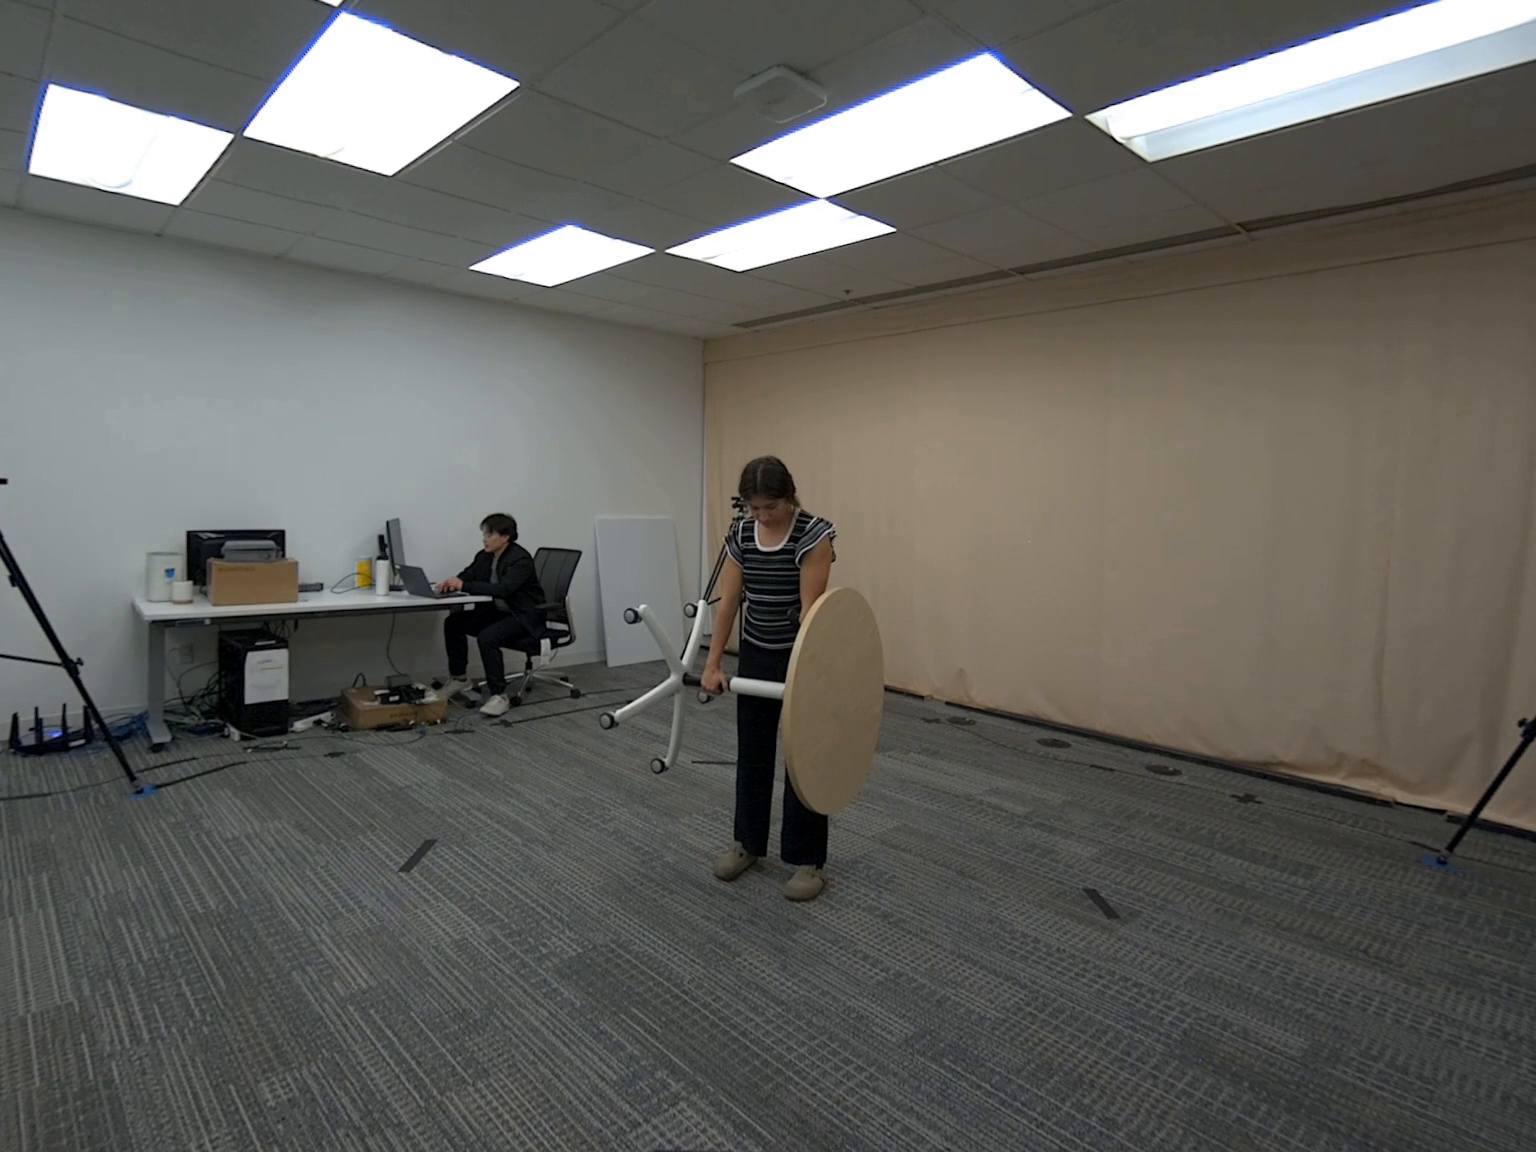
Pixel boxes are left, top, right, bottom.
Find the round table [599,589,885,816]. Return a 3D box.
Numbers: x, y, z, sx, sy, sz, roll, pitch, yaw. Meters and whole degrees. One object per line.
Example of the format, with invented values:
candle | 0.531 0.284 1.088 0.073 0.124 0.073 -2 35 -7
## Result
round table | -0.099 0.416 3.093 0.811 0.762 0.749 2 4 32
